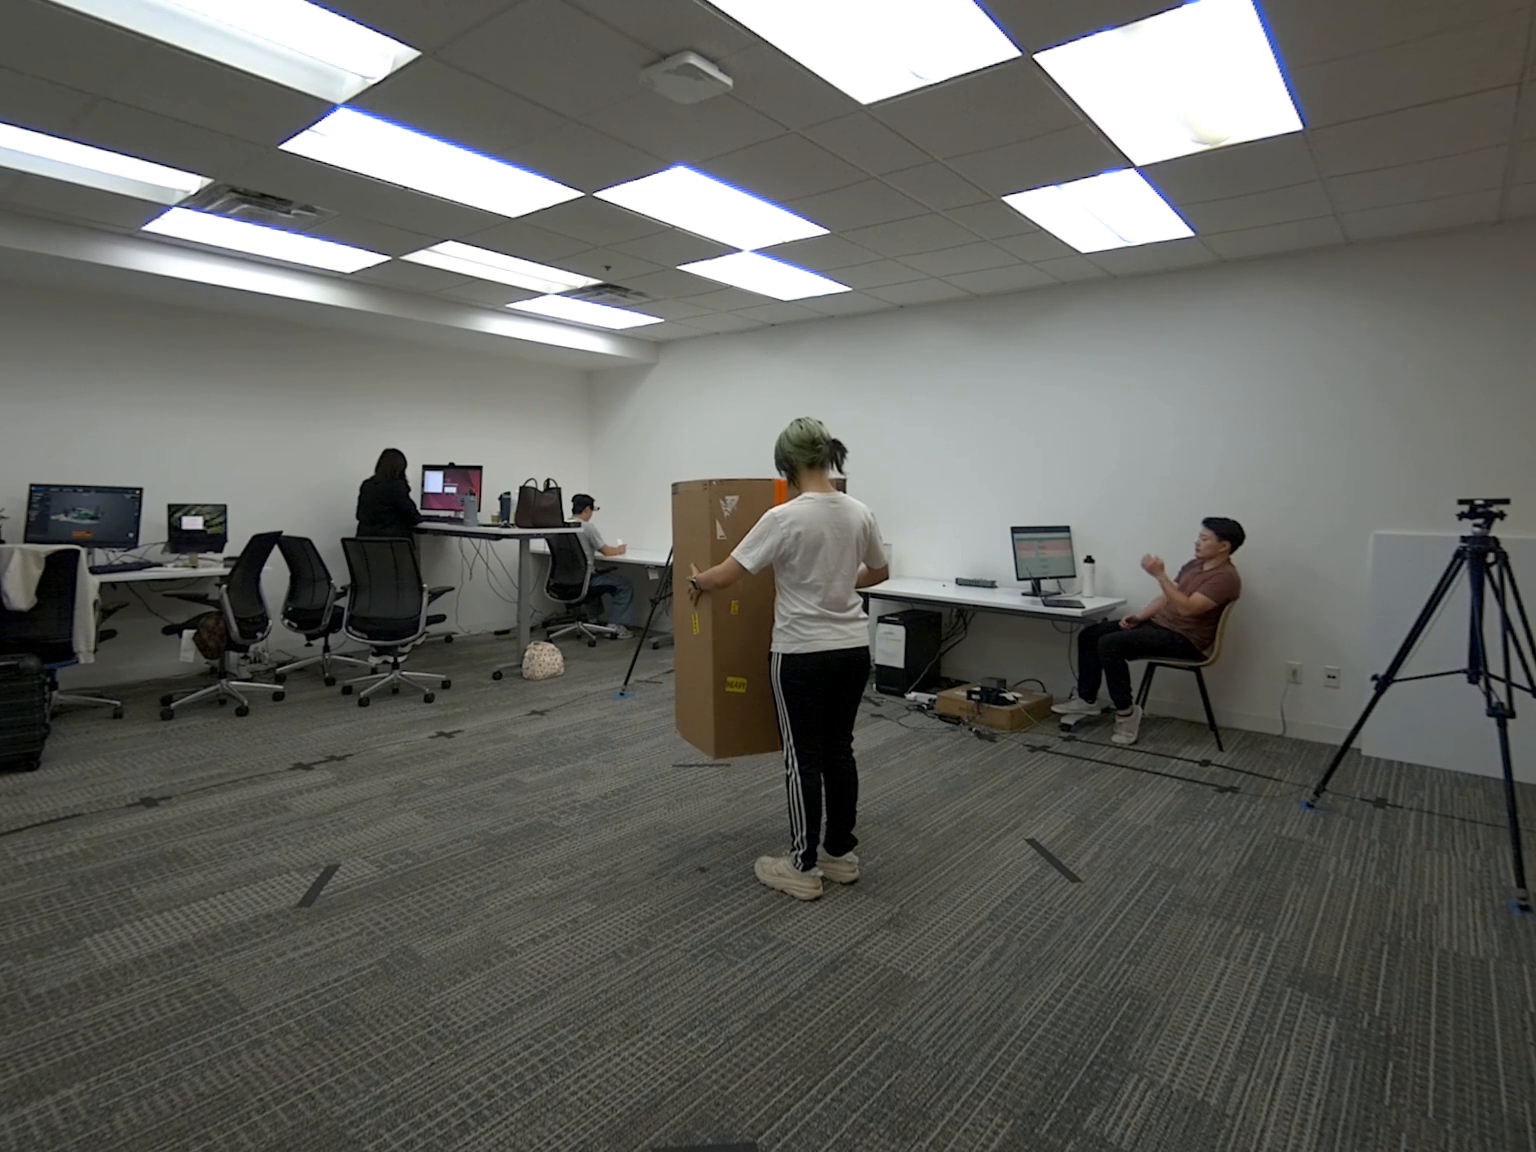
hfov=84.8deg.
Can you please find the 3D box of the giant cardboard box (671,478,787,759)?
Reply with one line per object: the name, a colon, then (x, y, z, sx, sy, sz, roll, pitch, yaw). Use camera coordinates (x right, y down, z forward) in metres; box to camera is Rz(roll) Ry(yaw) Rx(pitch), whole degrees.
giant cardboard box: (-0.052, 0.132, 3.374, 0.565, 1.024, 0.436, -2, 2, -24)
